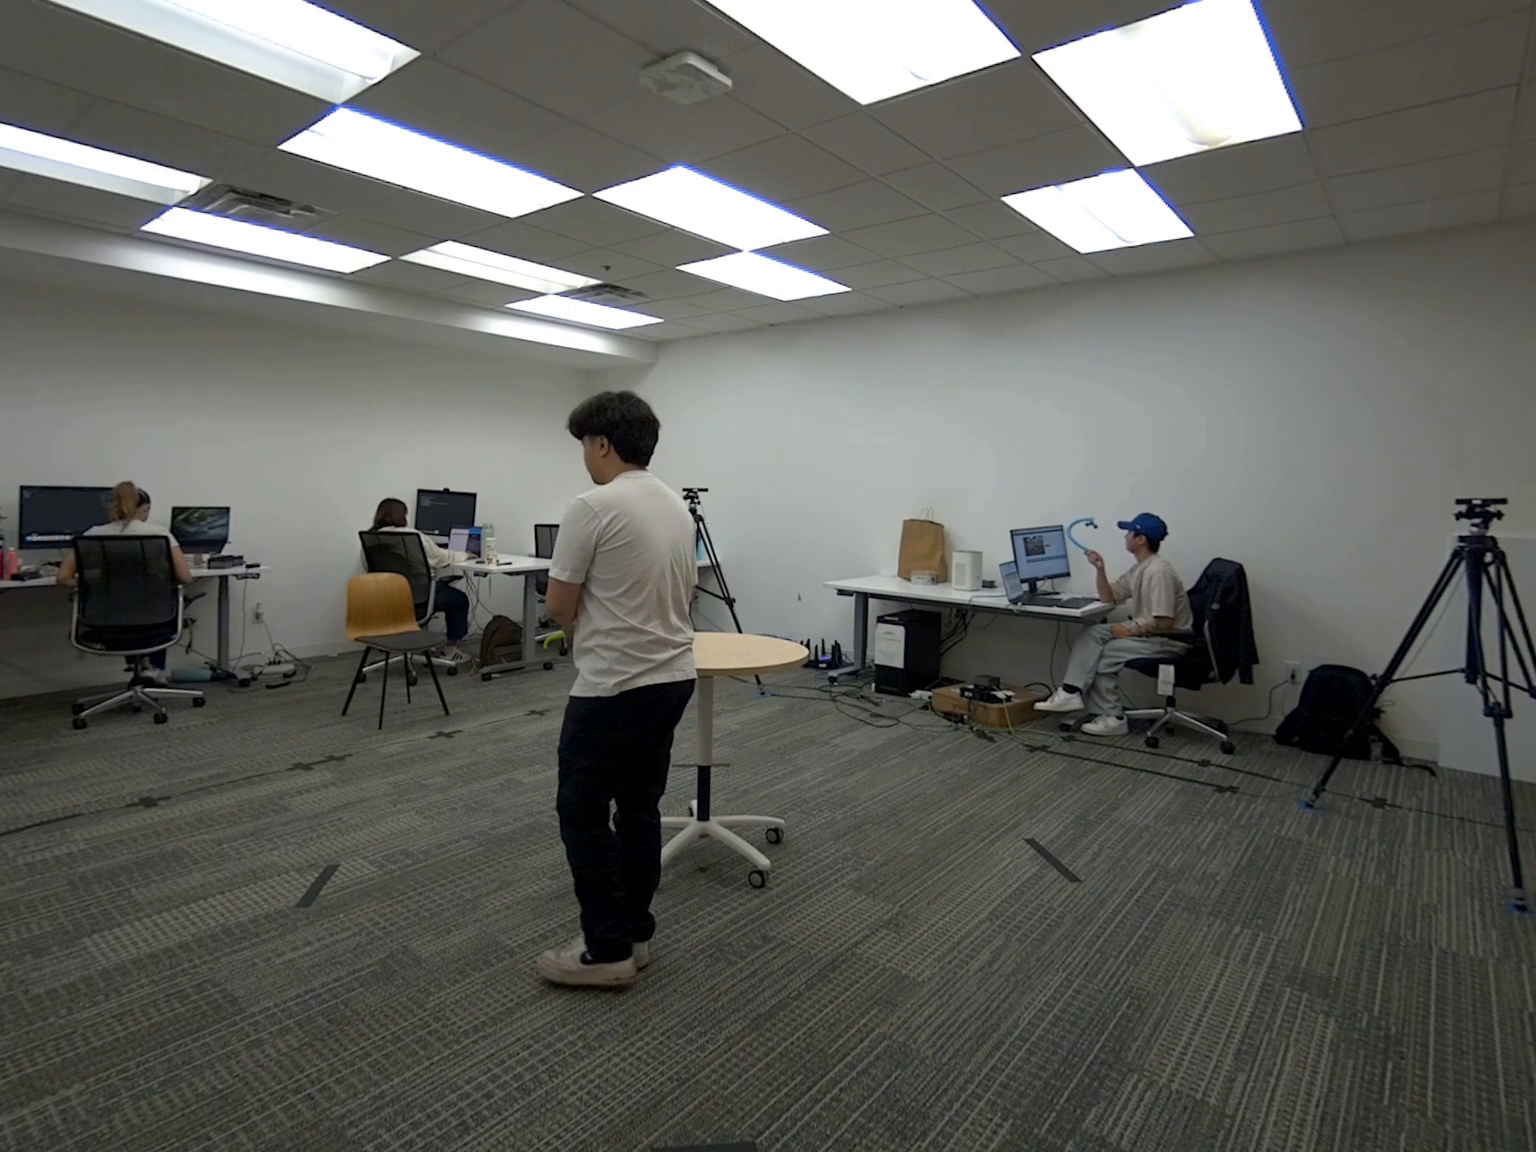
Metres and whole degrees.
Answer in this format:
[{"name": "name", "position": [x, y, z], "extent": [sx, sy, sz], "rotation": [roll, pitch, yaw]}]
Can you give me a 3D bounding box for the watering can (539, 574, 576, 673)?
[{"name": "watering can", "position": [-0.654, 0.144, 2.775], "extent": [0.184, 0.273, 0.096], "rotation": [28, 29, 35]}]
